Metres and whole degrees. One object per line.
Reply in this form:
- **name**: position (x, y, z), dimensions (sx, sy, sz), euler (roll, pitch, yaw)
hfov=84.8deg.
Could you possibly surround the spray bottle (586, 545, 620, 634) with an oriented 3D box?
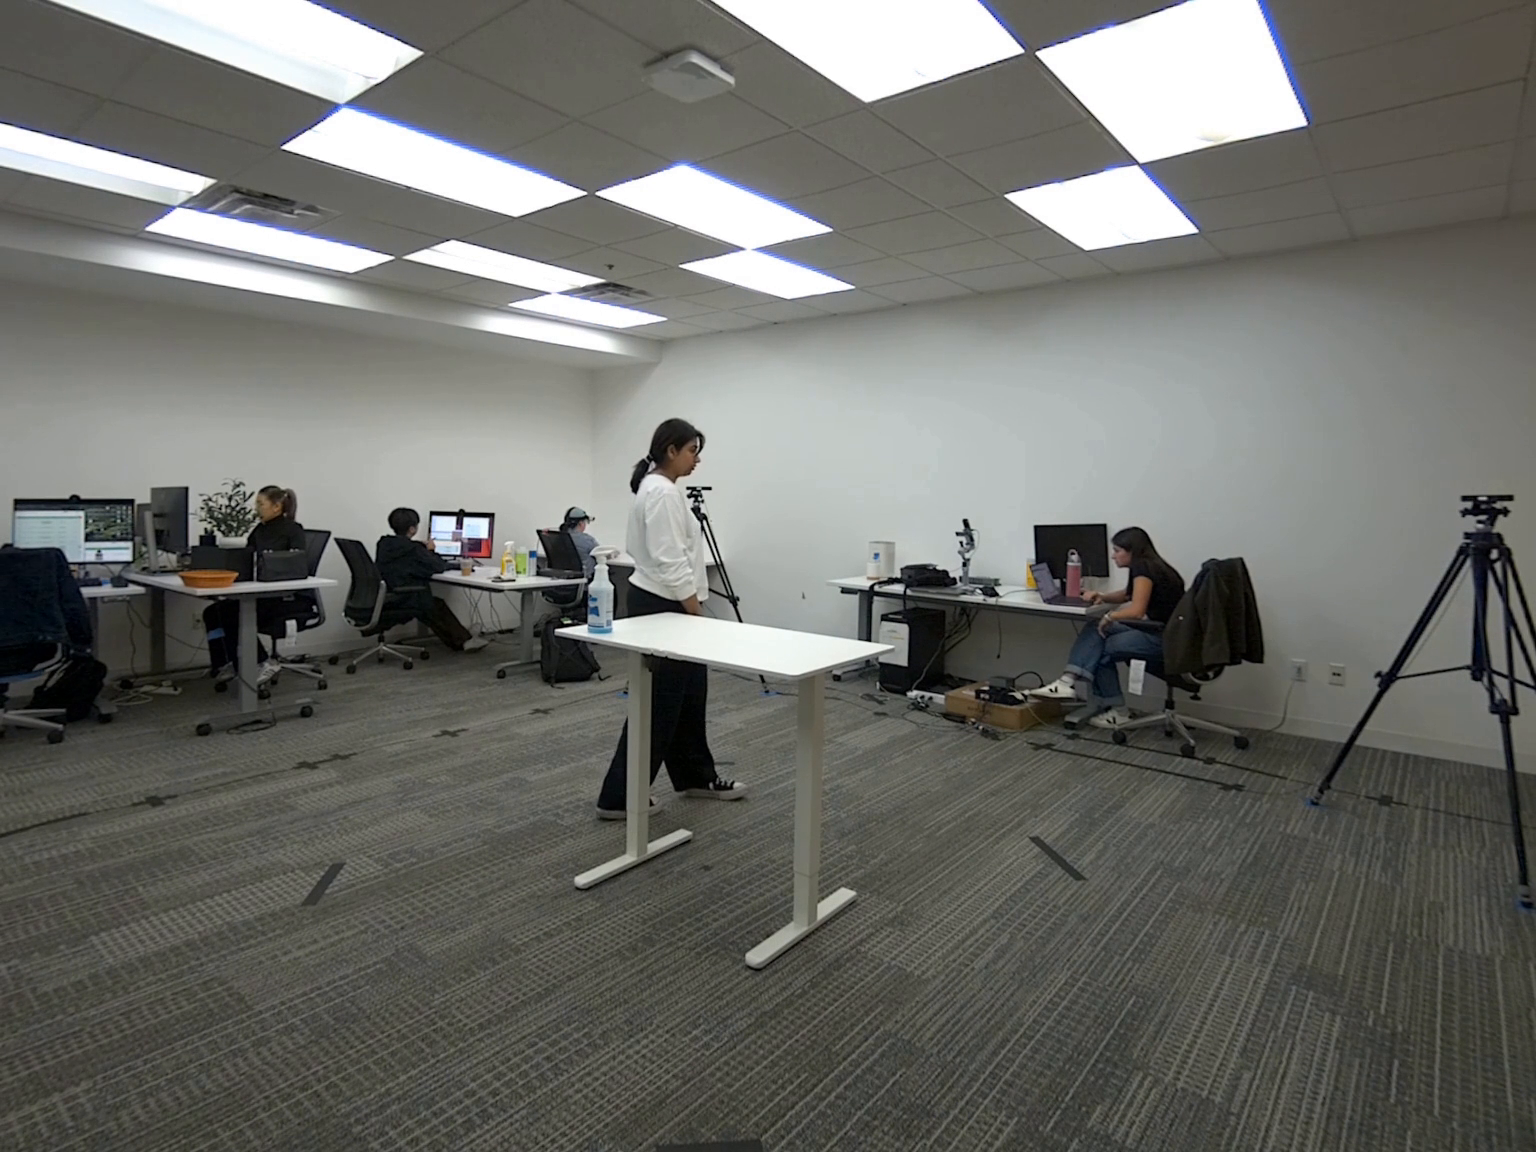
- **spray bottle**: position (-0.576, 0.044, 2.931), dimensions (0.091, 0.296, 0.086), euler (1, 3, 9)
